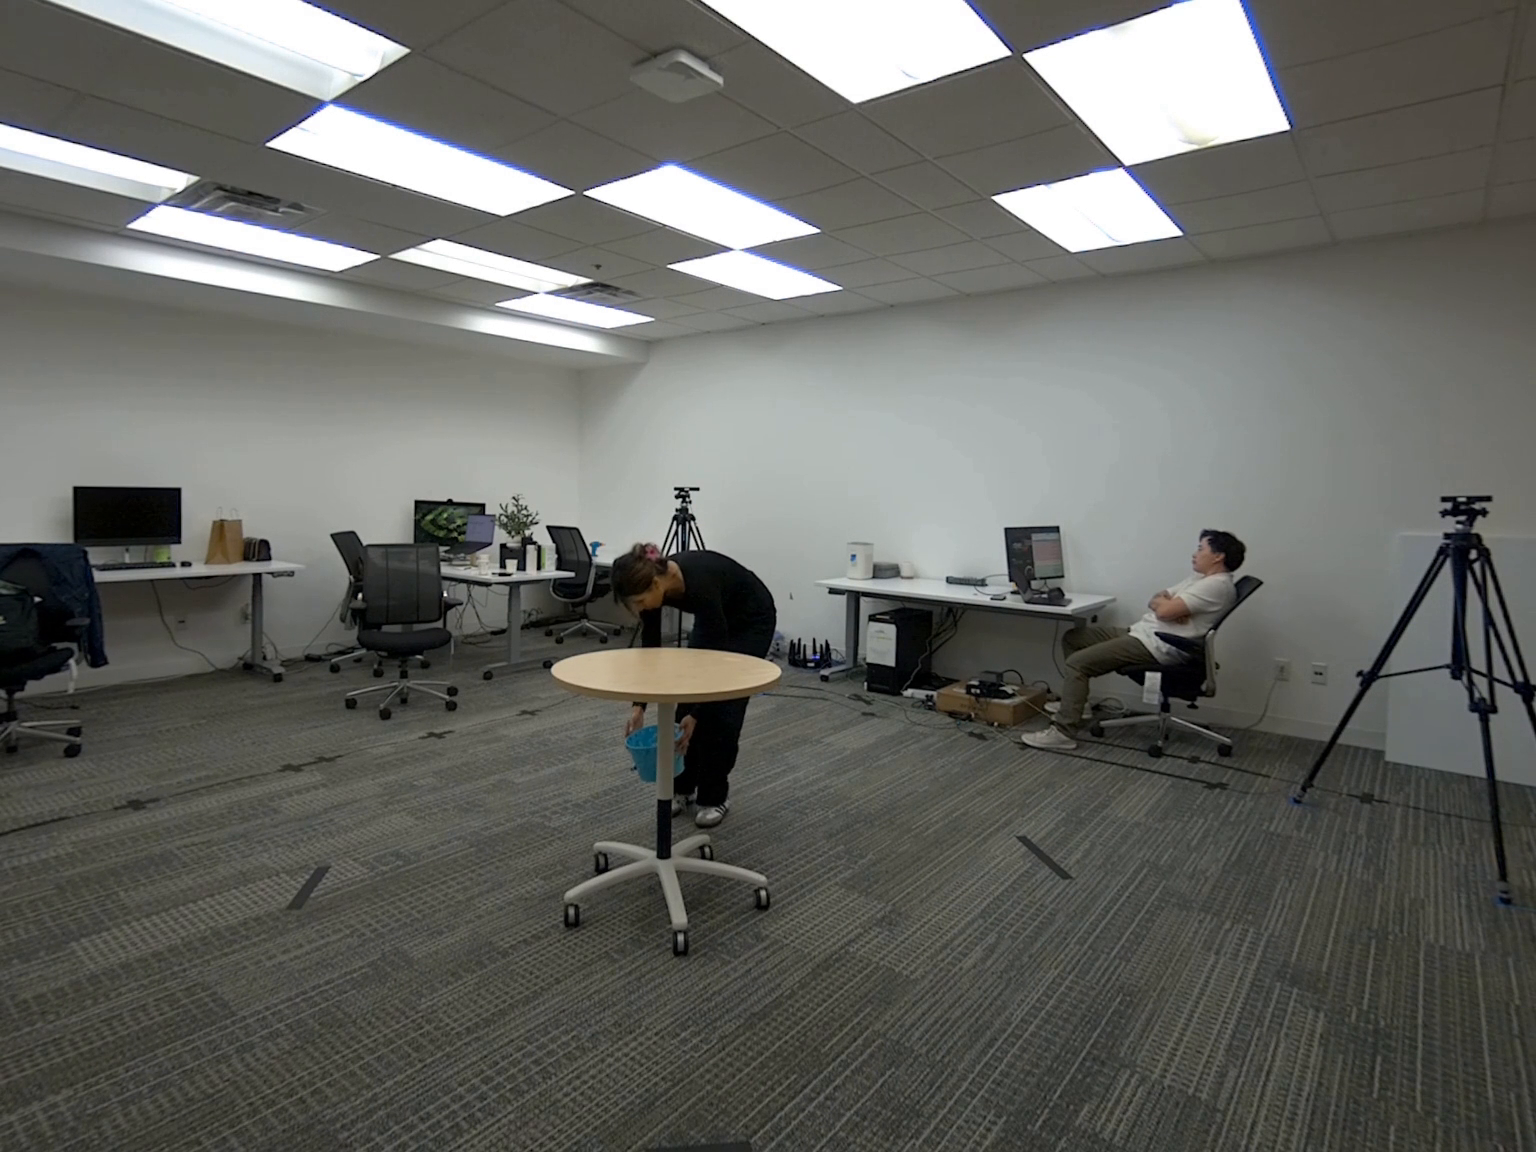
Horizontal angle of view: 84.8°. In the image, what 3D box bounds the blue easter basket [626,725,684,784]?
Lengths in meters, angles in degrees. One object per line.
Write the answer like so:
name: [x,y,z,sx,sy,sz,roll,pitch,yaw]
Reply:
blue easter basket: [-0.453,0.689,3.335,0.243,0.154,0.246,-8,9,-1]
